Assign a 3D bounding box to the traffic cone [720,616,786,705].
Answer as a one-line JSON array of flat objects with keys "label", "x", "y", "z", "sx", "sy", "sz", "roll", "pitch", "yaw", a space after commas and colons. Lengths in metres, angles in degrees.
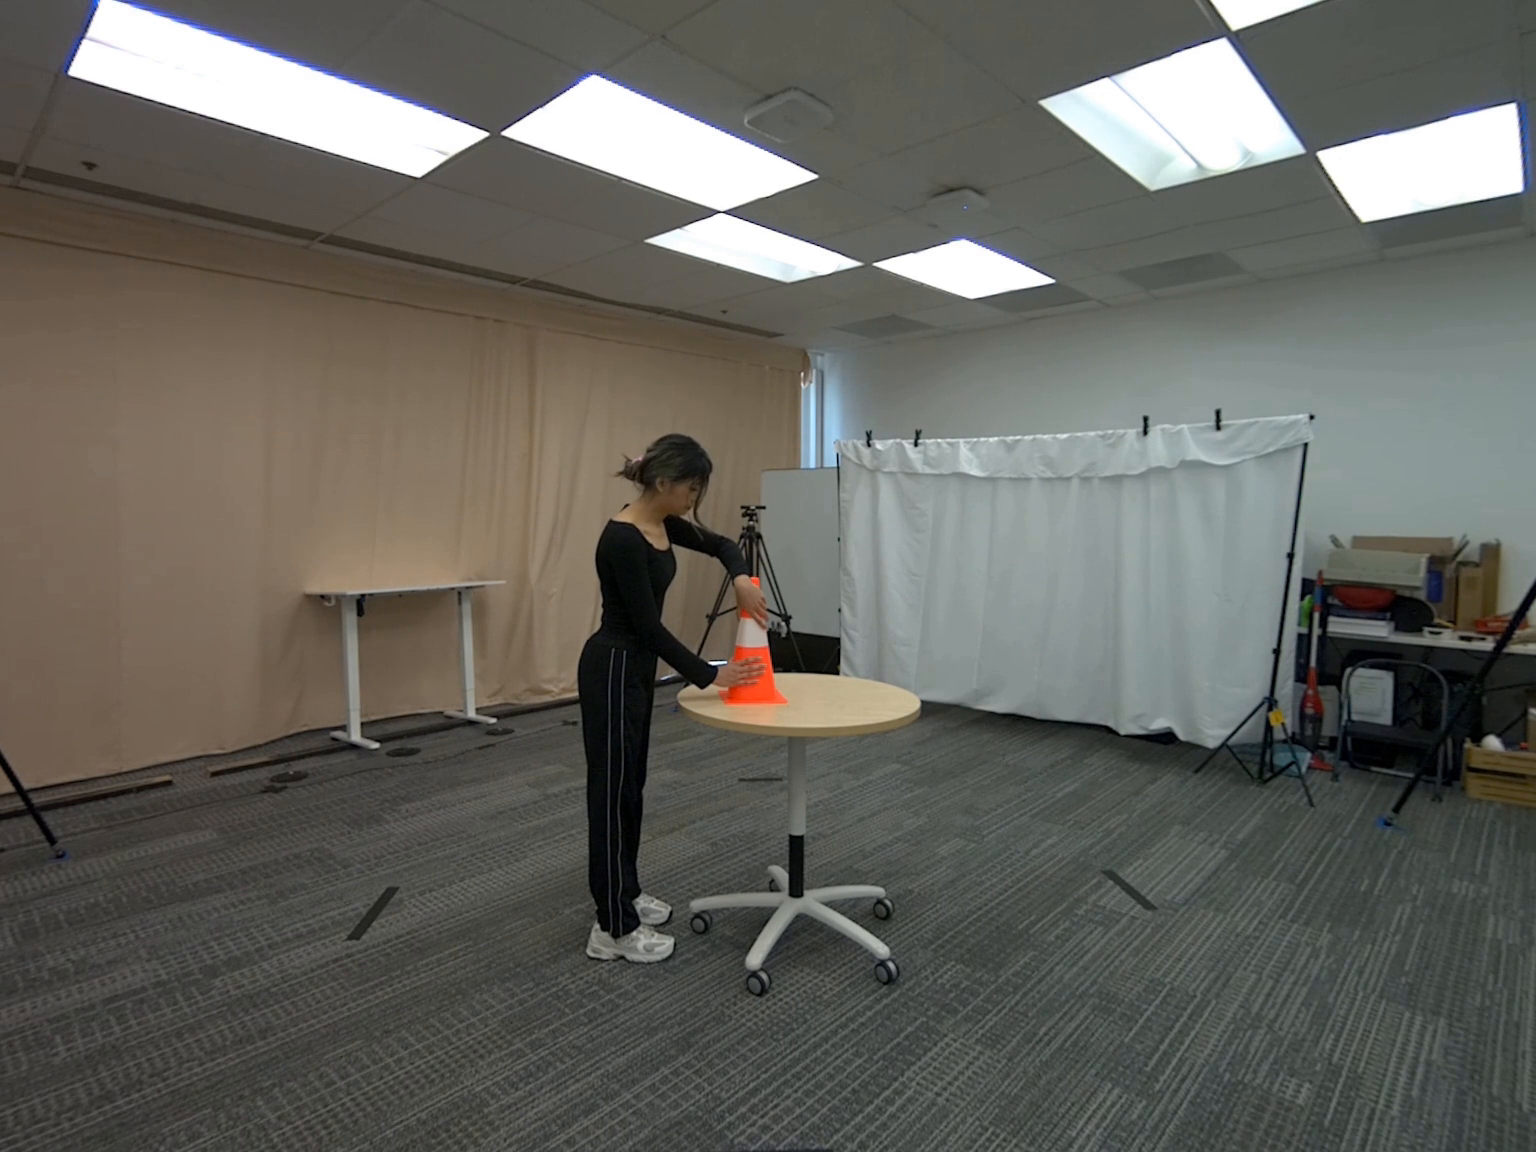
[{"label": "traffic cone", "x": -0.049, "y": 0.197, "z": 2.658, "sx": 0.201, "sy": 0.383, "sz": 0.207, "roll": -1, "pitch": 2, "yaw": -11}]
